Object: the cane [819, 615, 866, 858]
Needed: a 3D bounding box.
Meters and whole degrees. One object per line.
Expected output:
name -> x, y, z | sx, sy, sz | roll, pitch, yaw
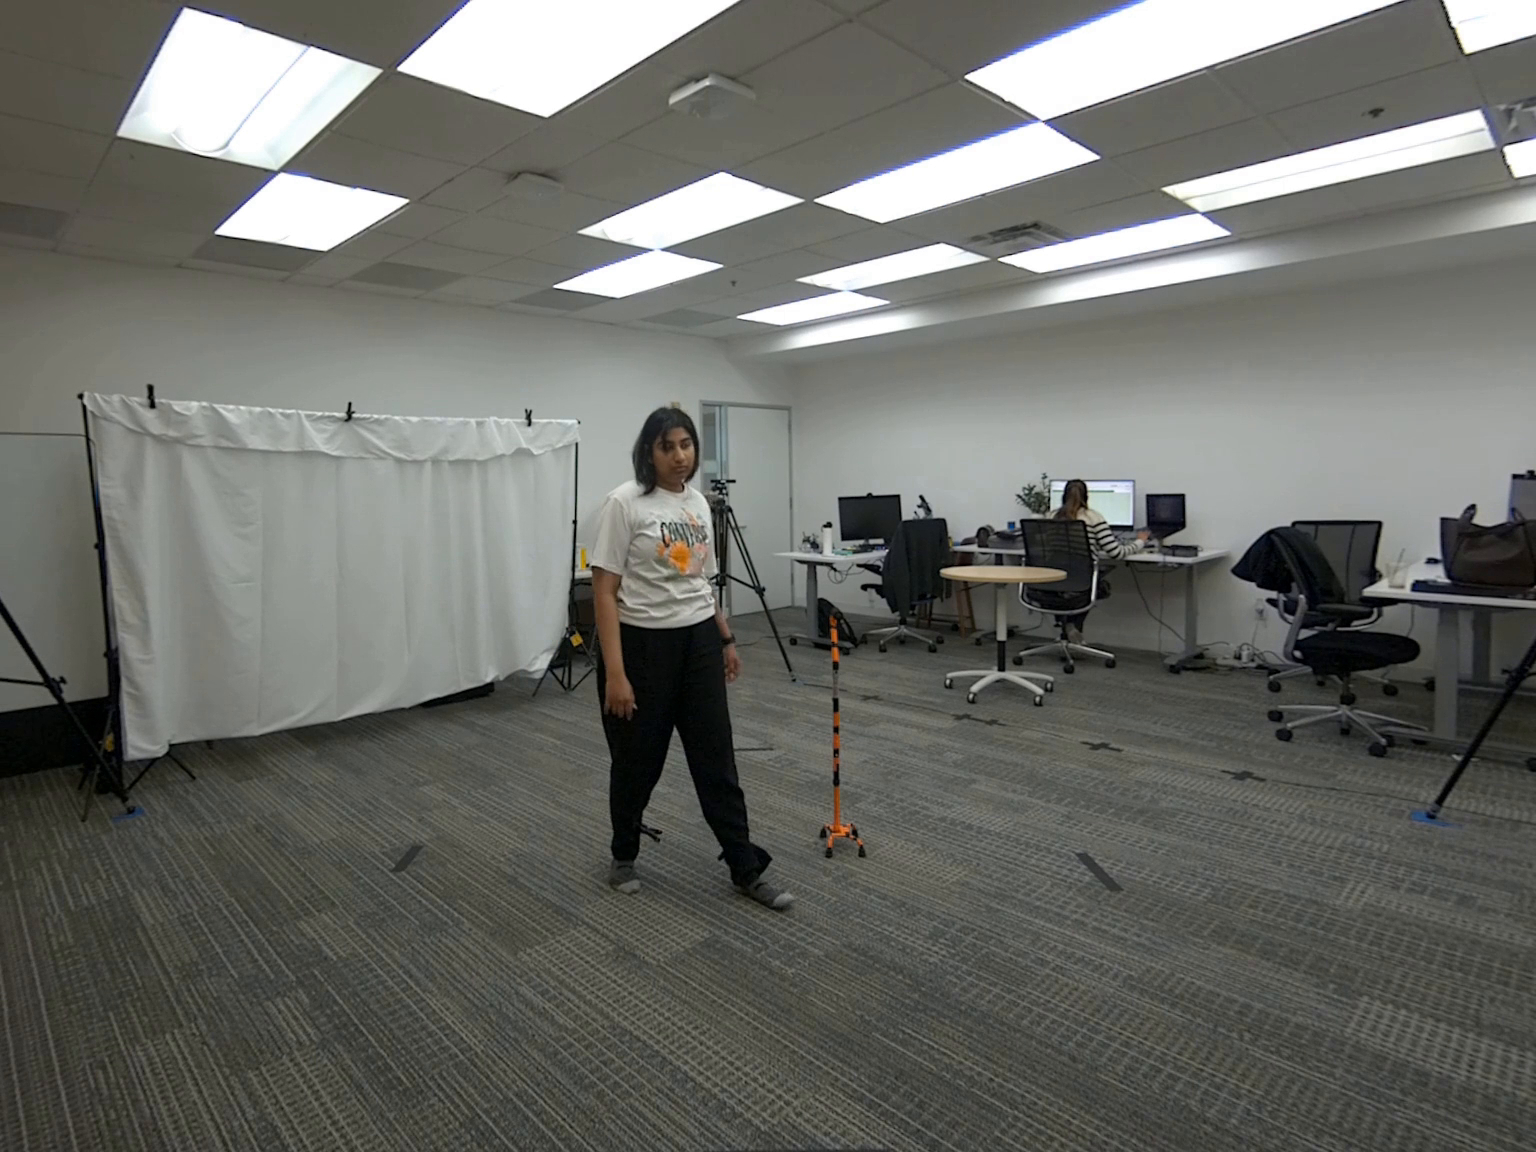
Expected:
cane -> 0.275, 0.580, 3.217 | 0.151, 0.905, 0.207 | -2, 4, -2
